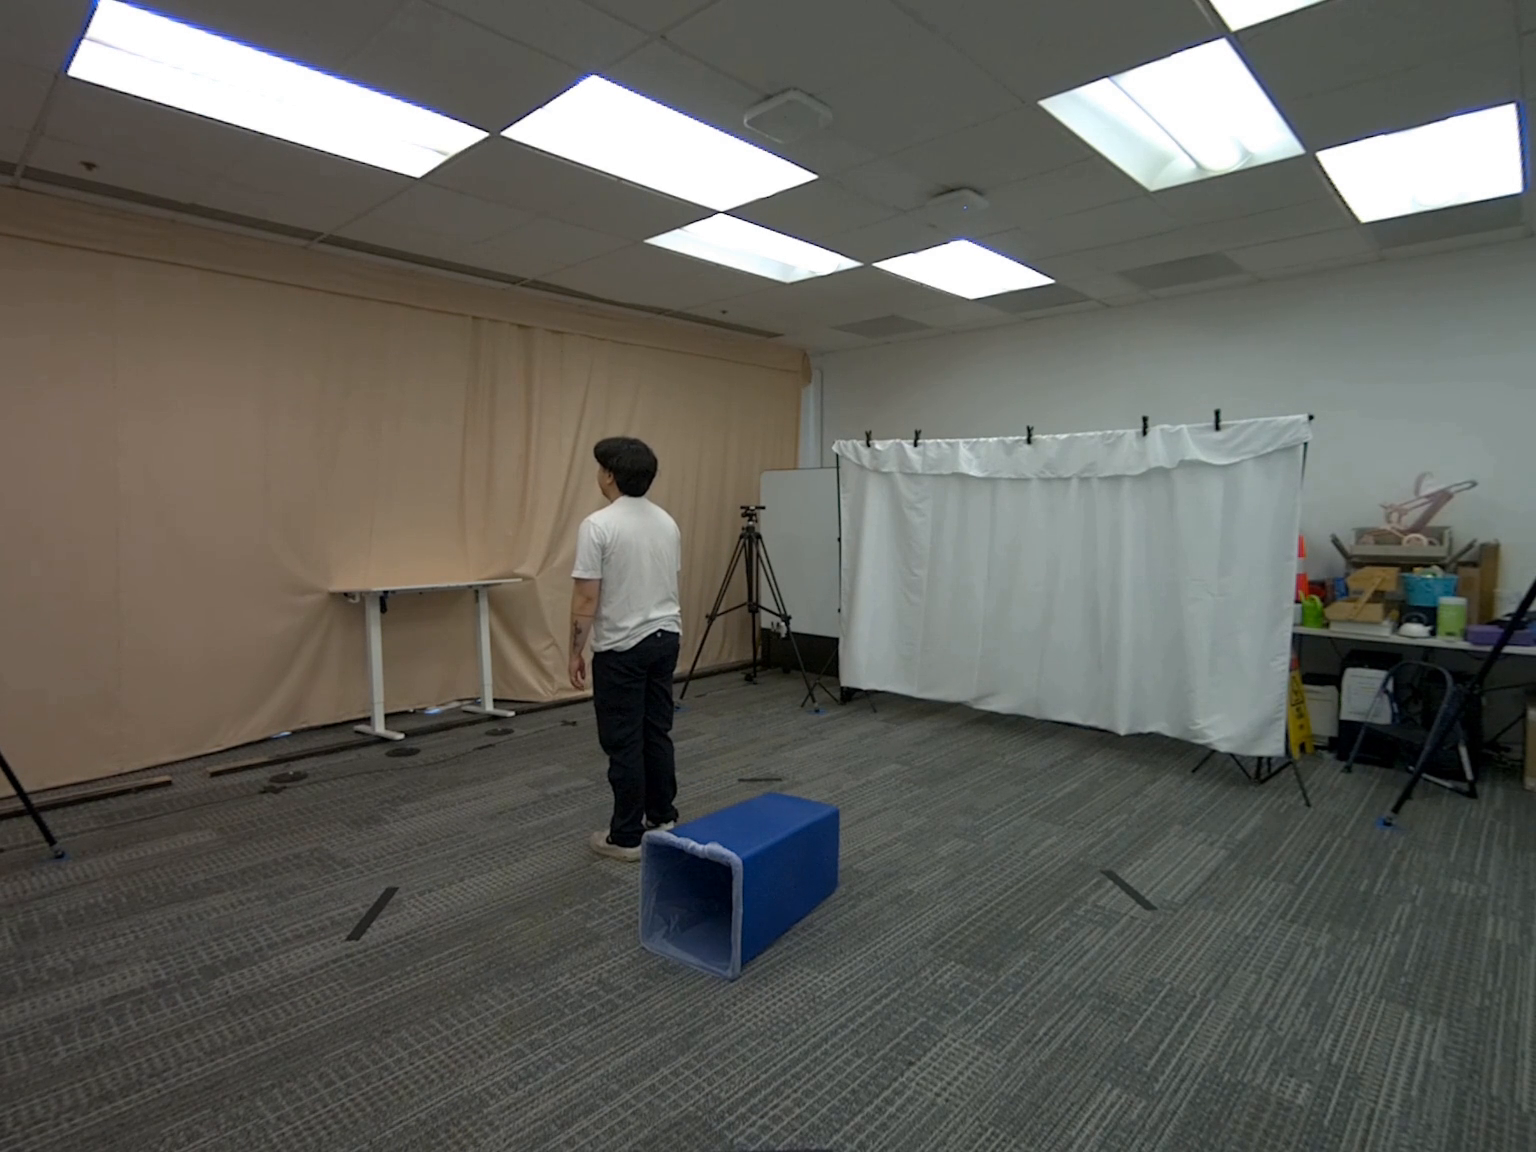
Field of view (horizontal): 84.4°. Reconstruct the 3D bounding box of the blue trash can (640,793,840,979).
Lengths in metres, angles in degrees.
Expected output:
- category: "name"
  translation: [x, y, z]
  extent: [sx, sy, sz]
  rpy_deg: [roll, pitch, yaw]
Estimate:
- category: "blue trash can"
  translation: [-0.054, 0.991, 2.841]
  extent: [0.390, 0.374, 0.692]
  rpy_deg: [1, 1, 34]
